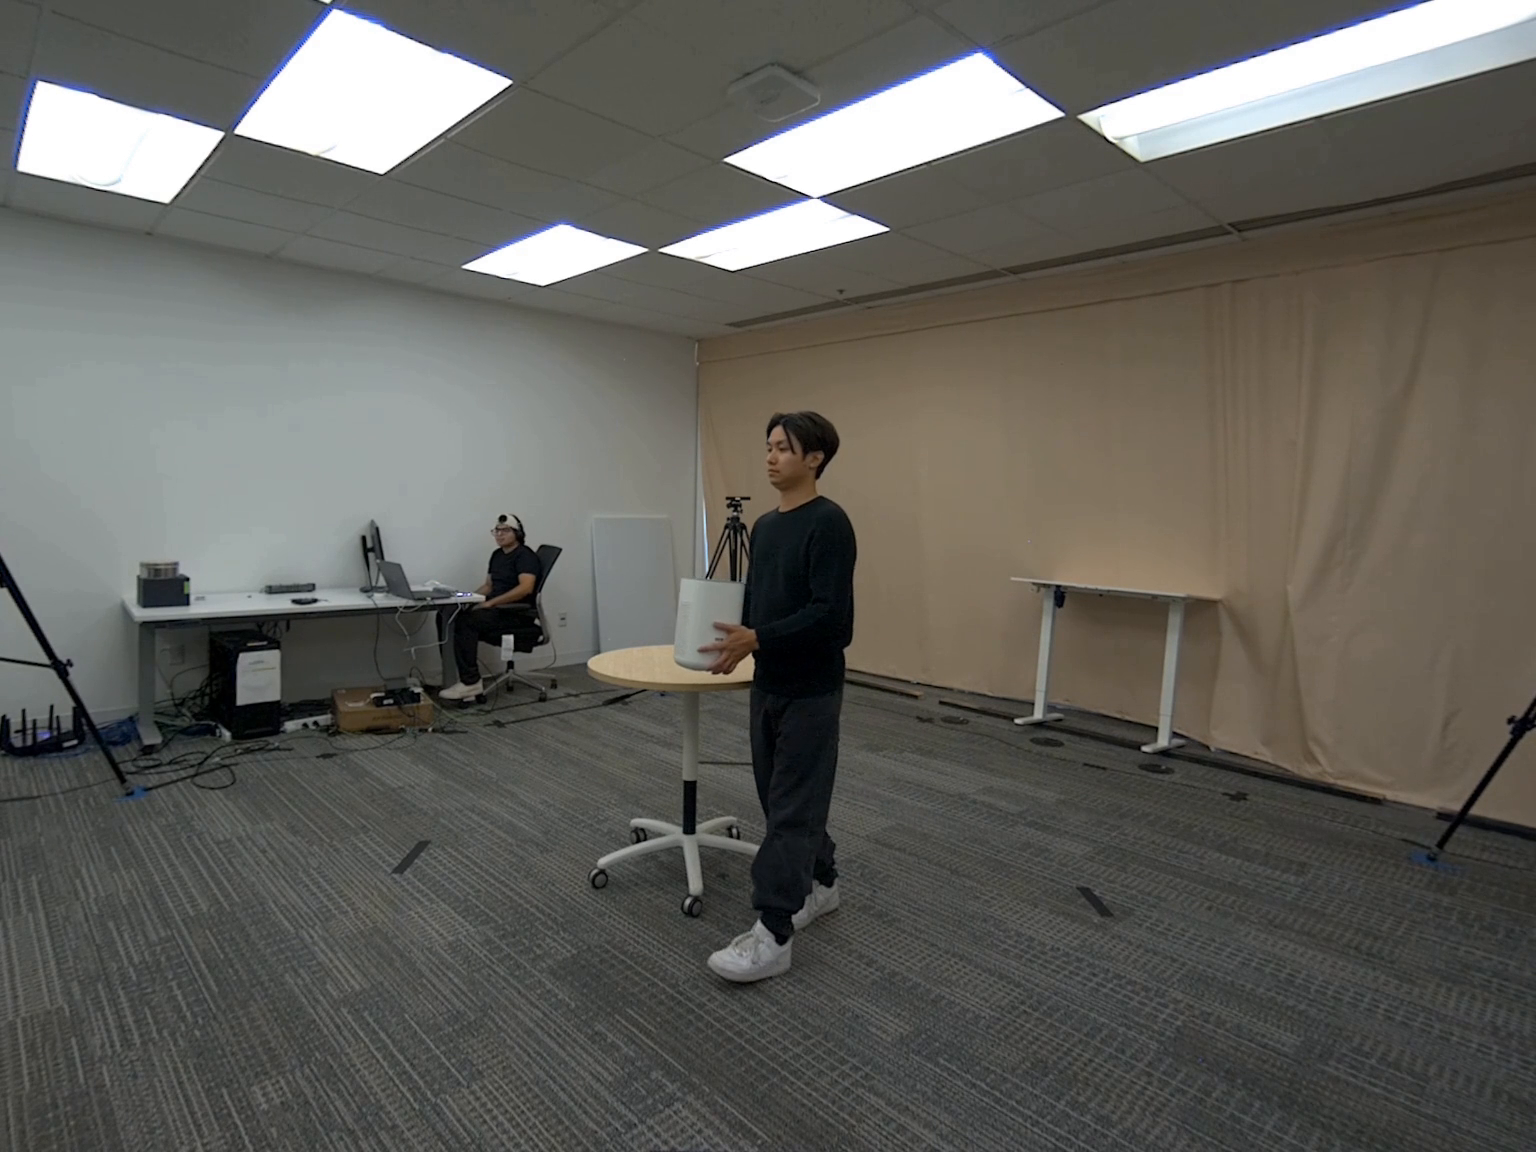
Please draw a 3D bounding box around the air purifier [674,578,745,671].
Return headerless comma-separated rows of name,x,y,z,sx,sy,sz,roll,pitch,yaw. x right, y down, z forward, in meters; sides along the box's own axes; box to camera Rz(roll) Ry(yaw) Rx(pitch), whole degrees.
air purifier,-0.175,0.141,2.496,0.167,0.266,0.175,7,-2,-27
